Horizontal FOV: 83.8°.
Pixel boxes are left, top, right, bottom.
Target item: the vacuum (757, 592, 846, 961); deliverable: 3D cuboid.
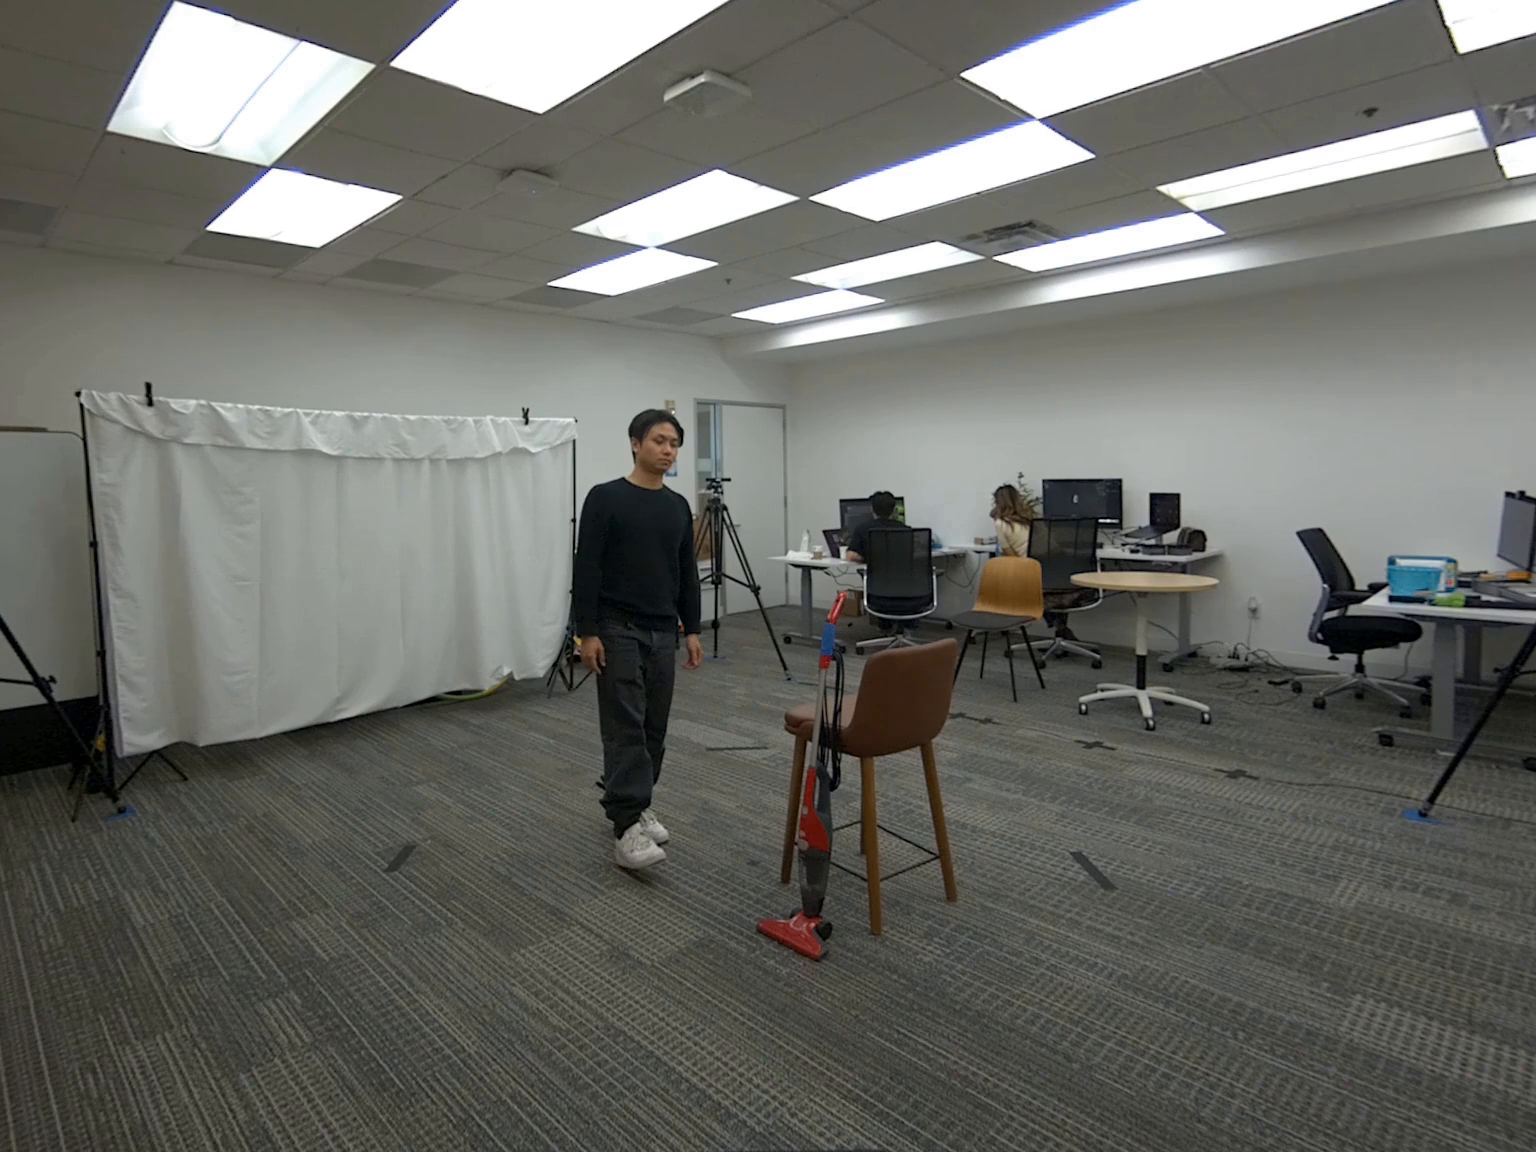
[{"bbox_3d":[0.175,0.586,2.638,0.260,1.053,0.139,3,-7,42],"label":"vacuum"}]
